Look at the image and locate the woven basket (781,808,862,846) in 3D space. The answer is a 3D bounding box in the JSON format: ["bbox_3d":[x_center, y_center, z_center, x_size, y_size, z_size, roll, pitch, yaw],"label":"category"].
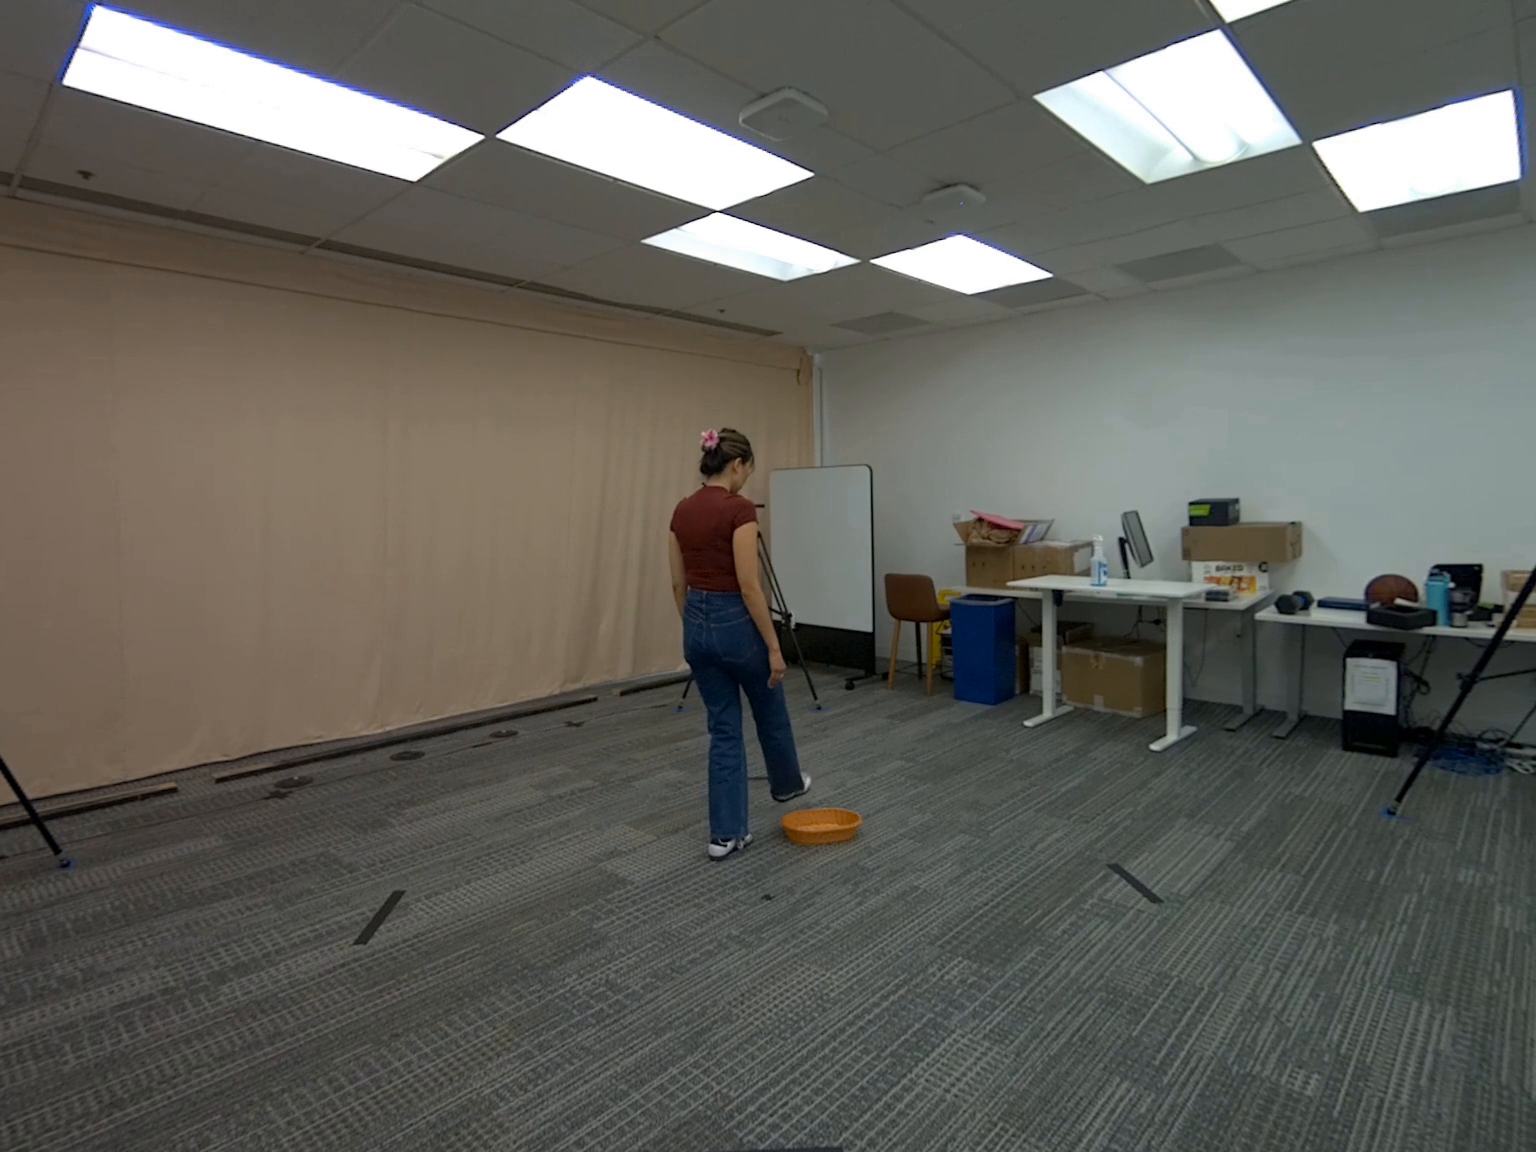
[{"bbox_3d":[0.228,1.051,3.528,0.346,0.073,0.256,-2,5,-13],"label":"woven basket"}]
